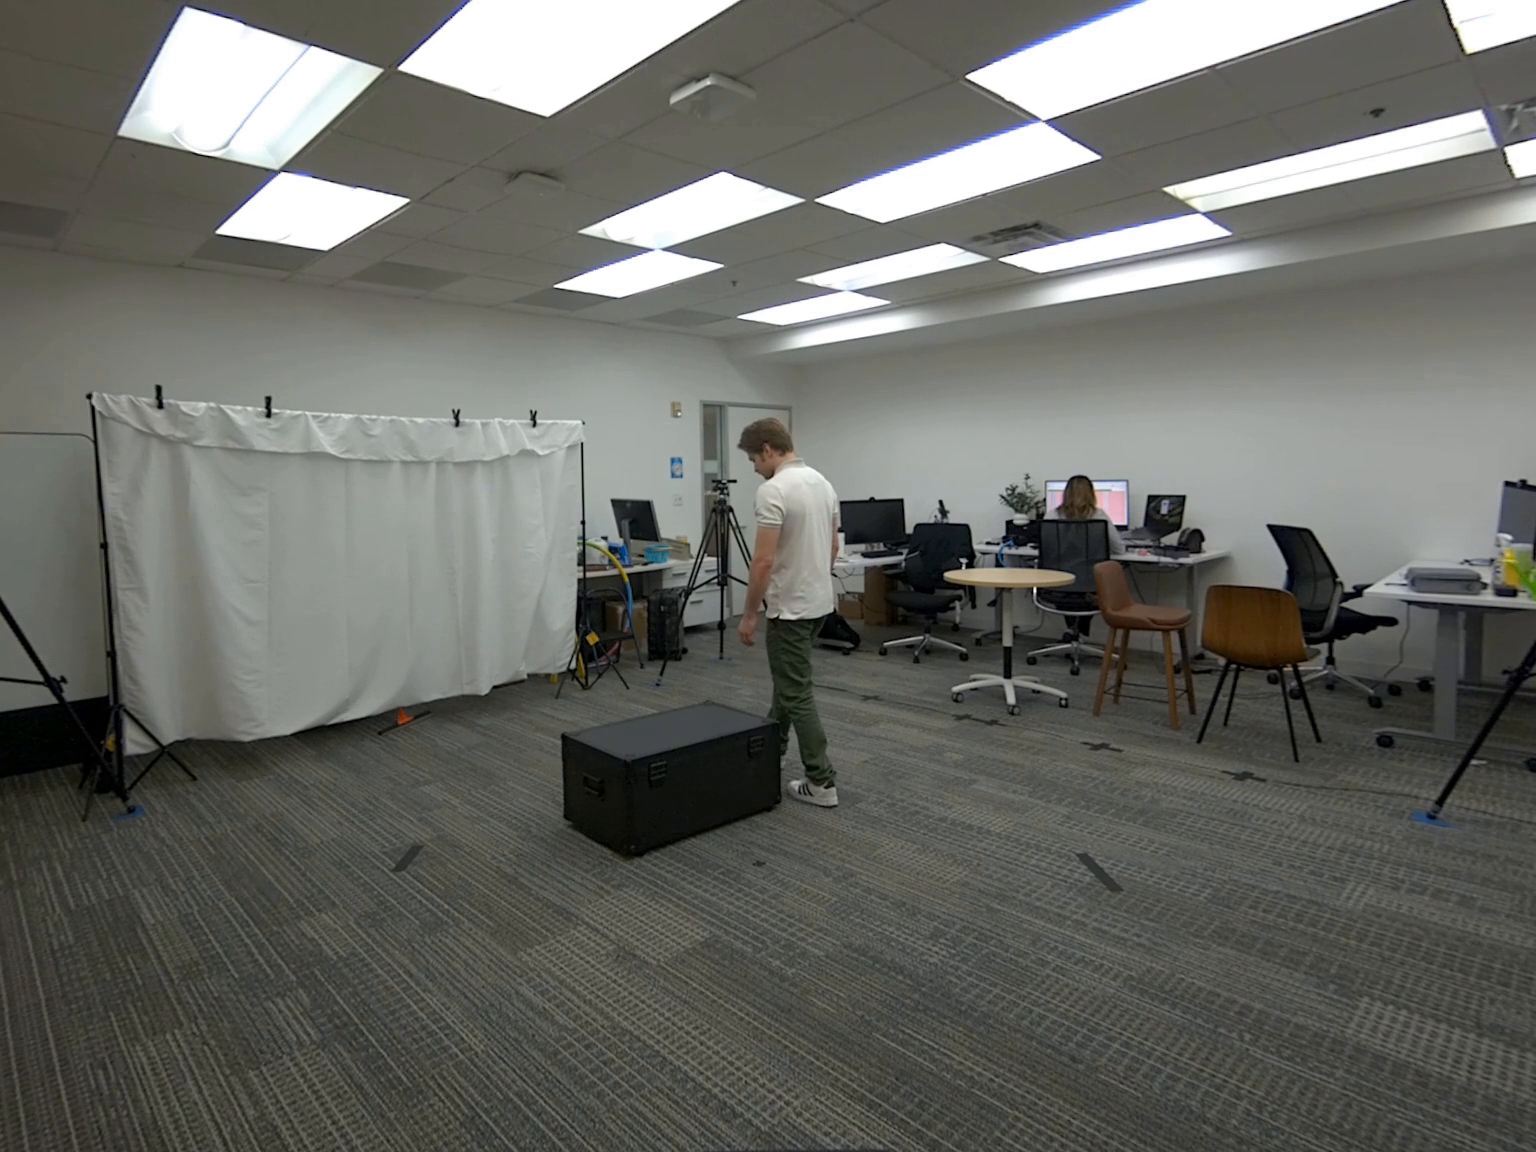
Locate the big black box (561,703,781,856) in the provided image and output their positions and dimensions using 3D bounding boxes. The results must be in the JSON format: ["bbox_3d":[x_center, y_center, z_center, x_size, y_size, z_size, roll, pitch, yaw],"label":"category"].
[{"bbox_3d":[-0.368,0.812,3.576,0.839,0.394,0.537,-6,7,-41],"label":"big black box"}]
